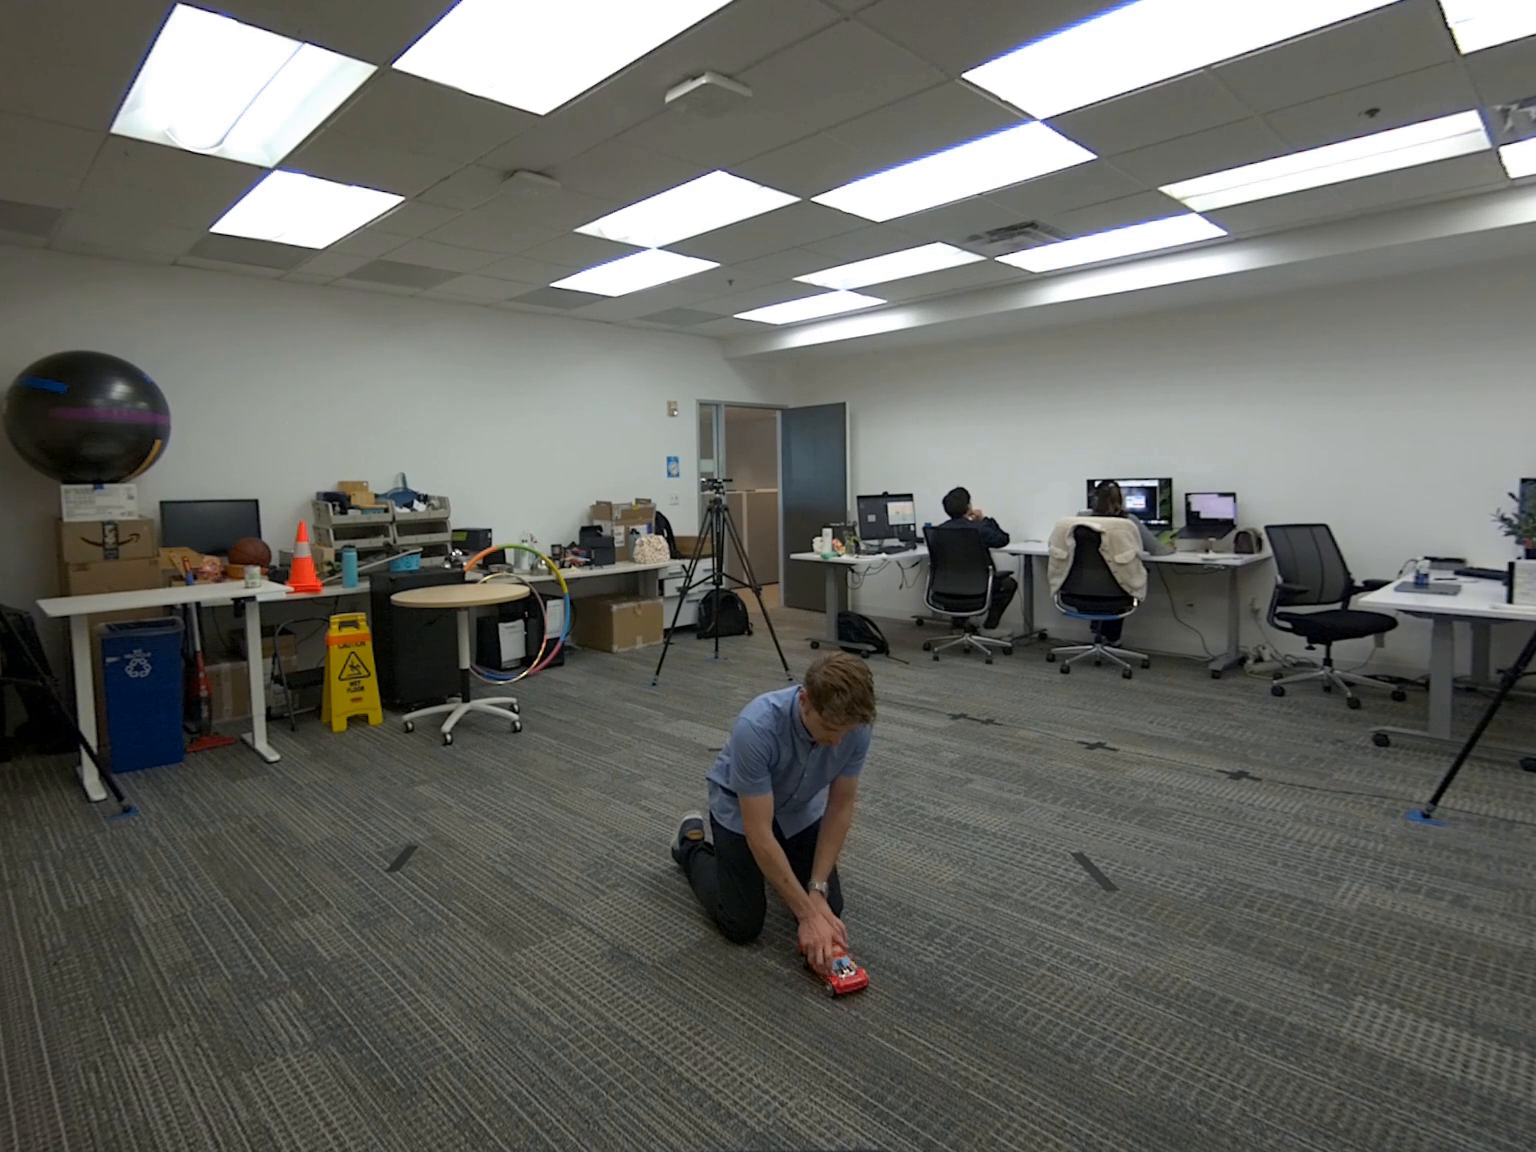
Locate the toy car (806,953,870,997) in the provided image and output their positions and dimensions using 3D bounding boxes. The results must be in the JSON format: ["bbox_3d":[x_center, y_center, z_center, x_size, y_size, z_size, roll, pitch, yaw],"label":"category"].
[{"bbox_3d":[0.172,1.094,2.407,0.128,0.082,0.263,-6,17,-23],"label":"toy car"}]
